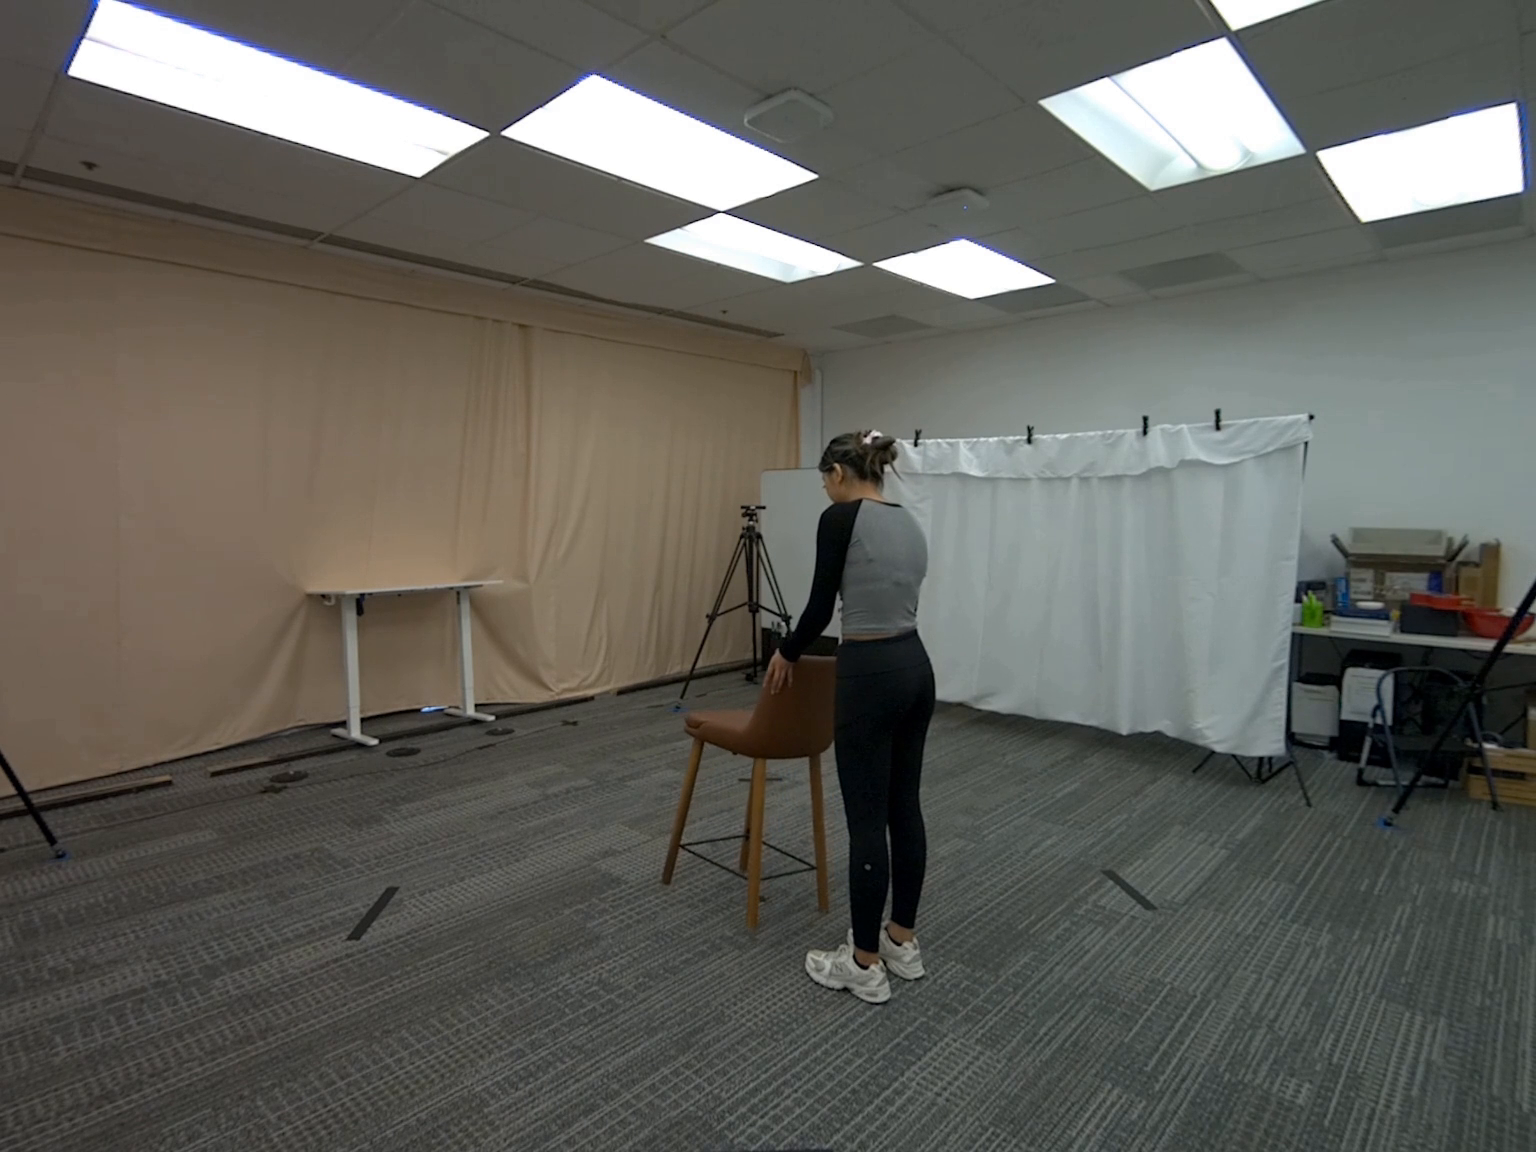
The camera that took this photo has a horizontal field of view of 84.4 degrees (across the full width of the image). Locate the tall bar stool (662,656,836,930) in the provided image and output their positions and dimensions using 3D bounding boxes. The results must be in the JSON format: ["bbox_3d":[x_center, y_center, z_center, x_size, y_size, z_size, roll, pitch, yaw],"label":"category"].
[{"bbox_3d":[-0.021,0.686,2.947,0.441,0.890,0.484,8,-1,-43],"label":"tall bar stool"}]
